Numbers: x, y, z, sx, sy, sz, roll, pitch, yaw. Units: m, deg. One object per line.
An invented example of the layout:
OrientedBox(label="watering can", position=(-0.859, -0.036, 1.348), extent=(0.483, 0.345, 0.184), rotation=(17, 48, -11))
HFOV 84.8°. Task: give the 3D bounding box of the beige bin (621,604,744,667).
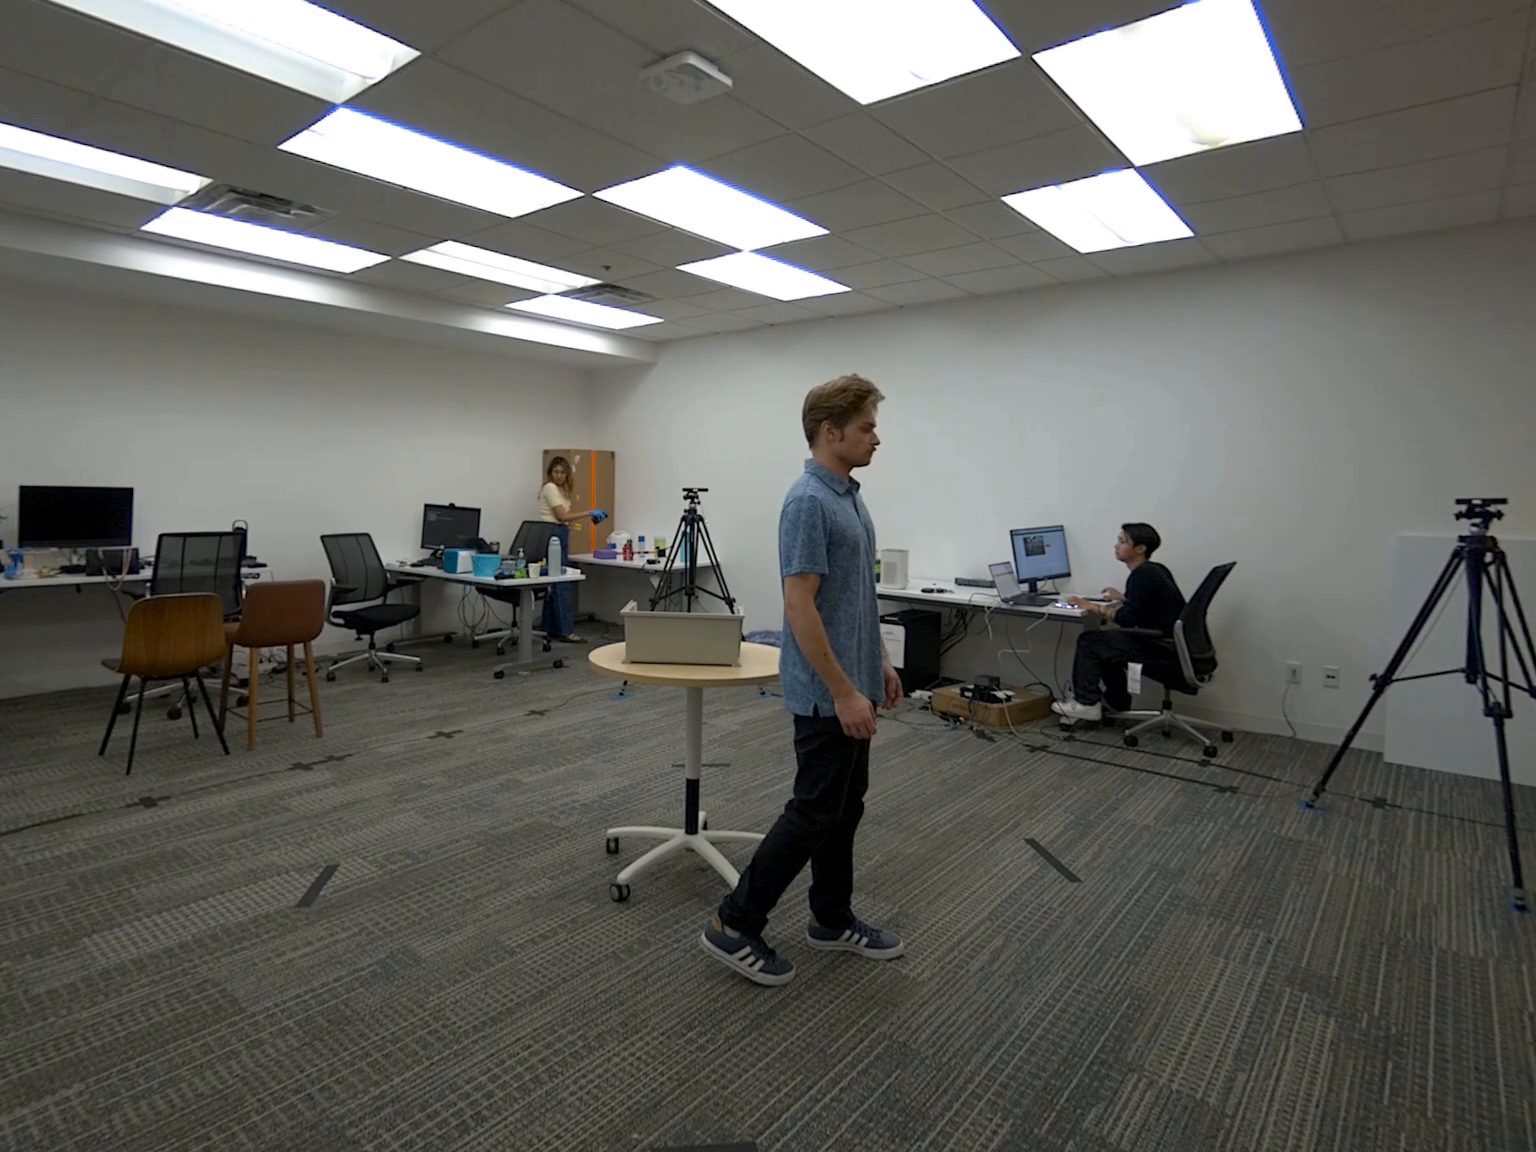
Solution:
OrientedBox(label="beige bin", position=(-0.321, 0.195, 3.085), extent=(0.422, 0.188, 0.380), rotation=(2, 7, -2))
